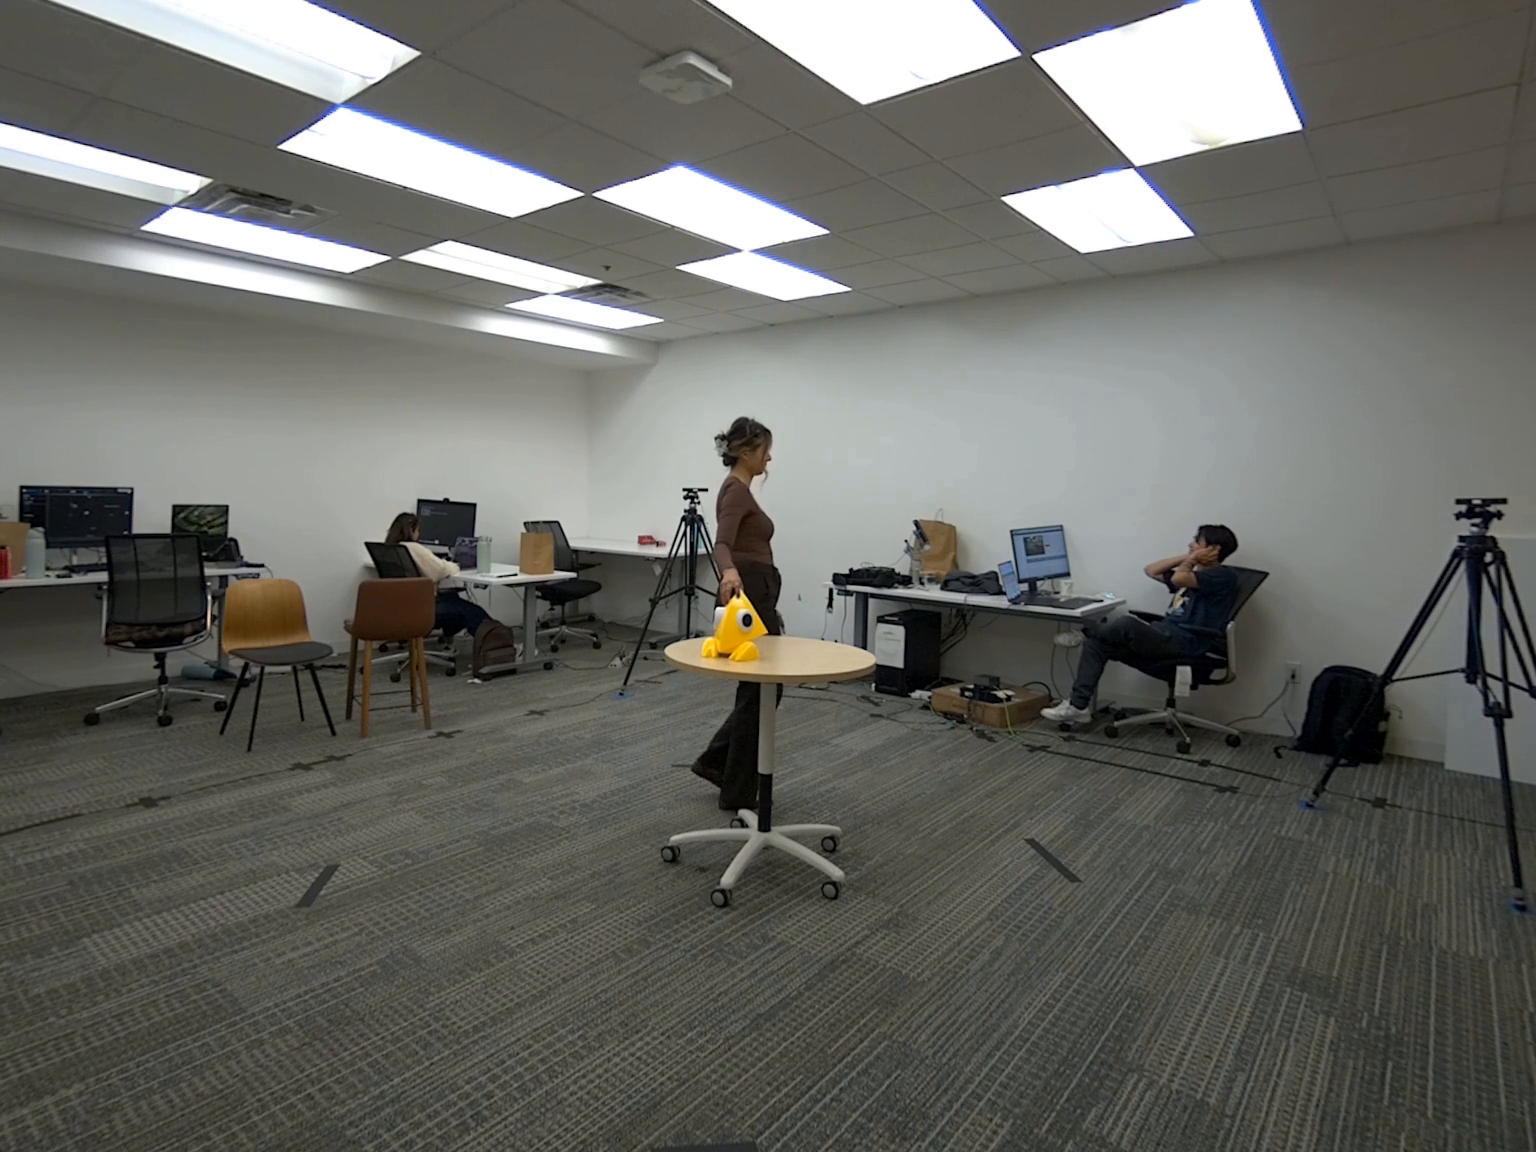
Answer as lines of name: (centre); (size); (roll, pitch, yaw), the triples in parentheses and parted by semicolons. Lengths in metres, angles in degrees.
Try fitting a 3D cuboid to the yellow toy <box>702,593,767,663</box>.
yellow toy: (-0.138, 0.165, 3.022); (0.210, 0.230, 0.189); (3, 4, 25)
